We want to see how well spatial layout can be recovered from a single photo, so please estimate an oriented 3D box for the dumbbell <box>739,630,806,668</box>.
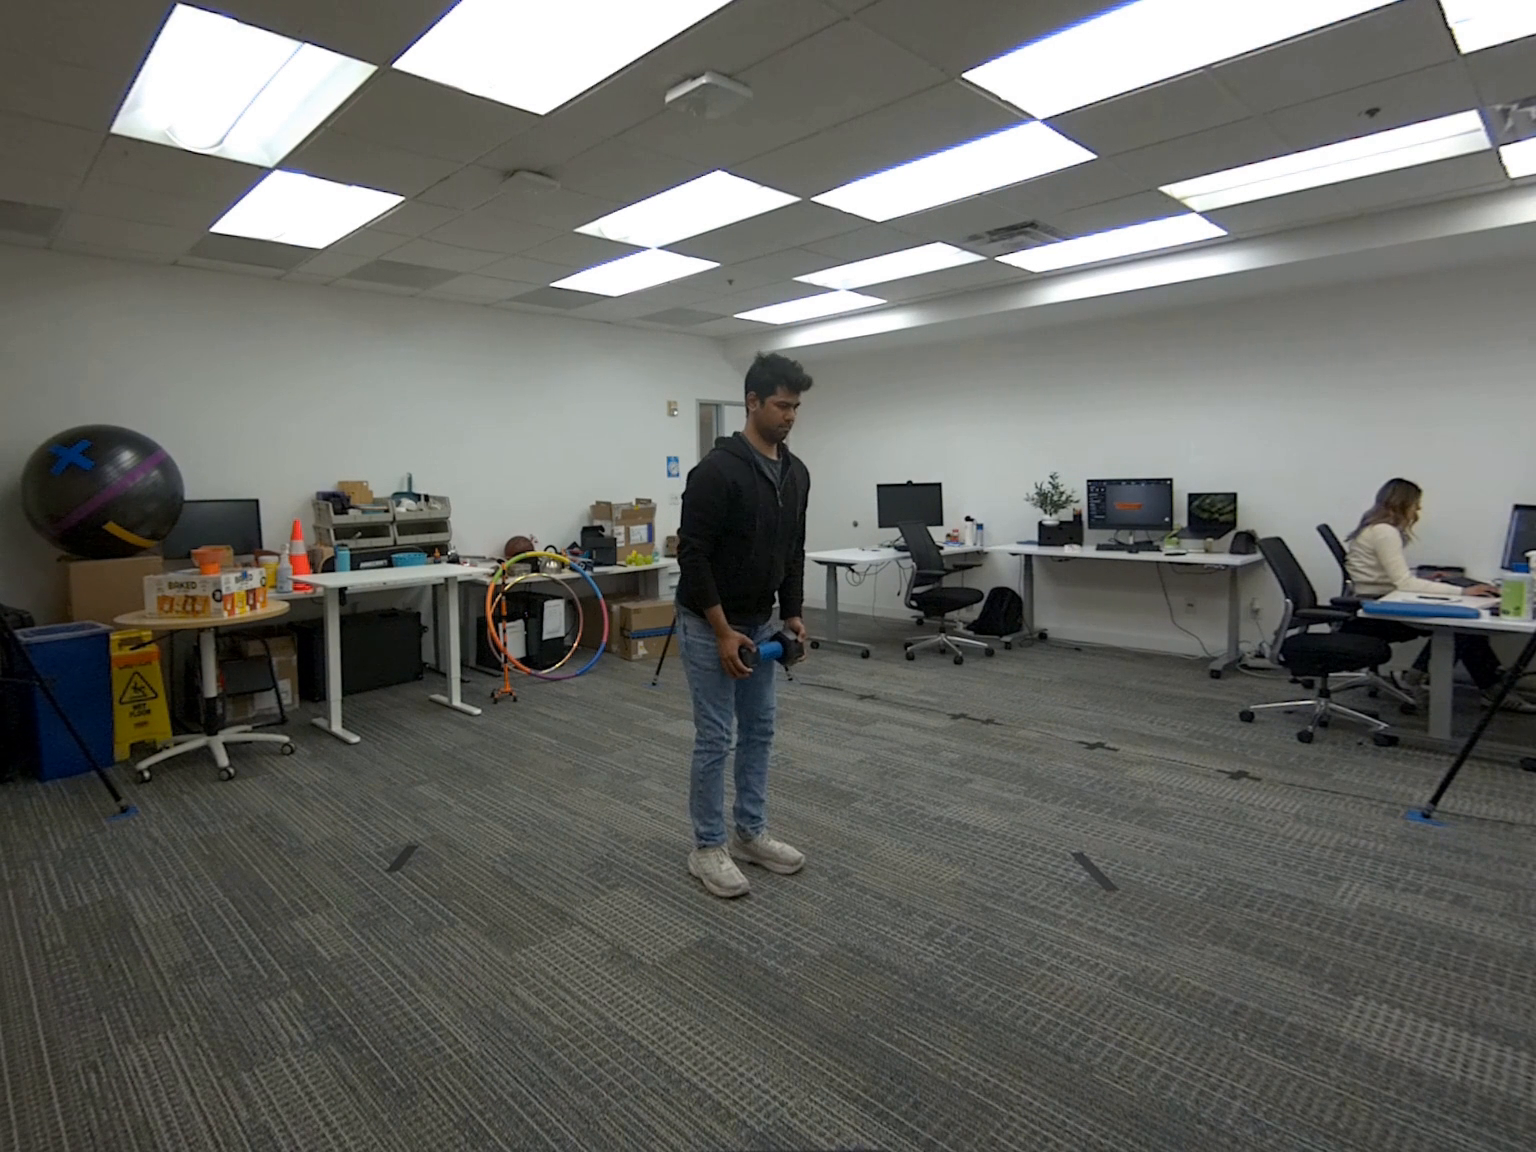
[{"bbox_3d":[-0.016,0.268,2.925,0.286,0.111,0.123,-10,-24,-44],"label":"dumbbell"}]
